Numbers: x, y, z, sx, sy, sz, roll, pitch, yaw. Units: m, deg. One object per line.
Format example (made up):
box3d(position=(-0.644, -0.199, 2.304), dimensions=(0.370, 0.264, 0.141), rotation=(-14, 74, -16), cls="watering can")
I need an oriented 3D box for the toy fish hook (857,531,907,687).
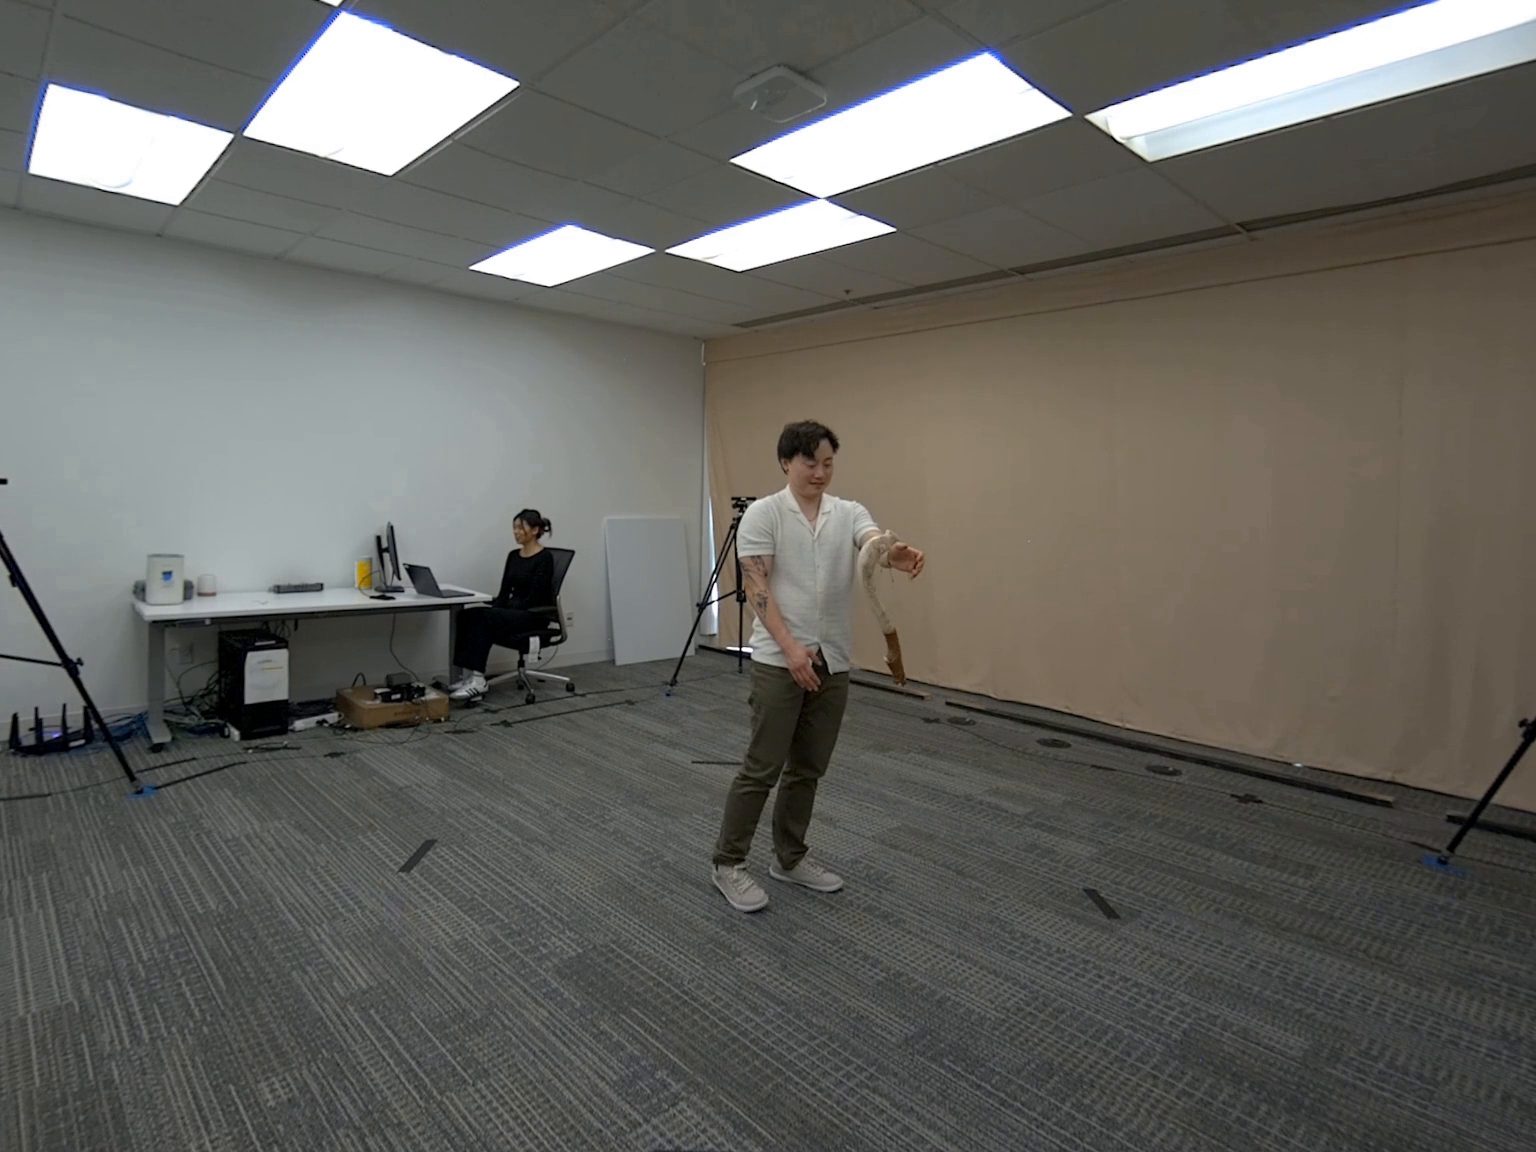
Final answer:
box3d(position=(0.397, 0.107, 2.677), dimensions=(0.222, 0.500, 0.049), rotation=(-22, 15, -22), cls="toy fish hook")
